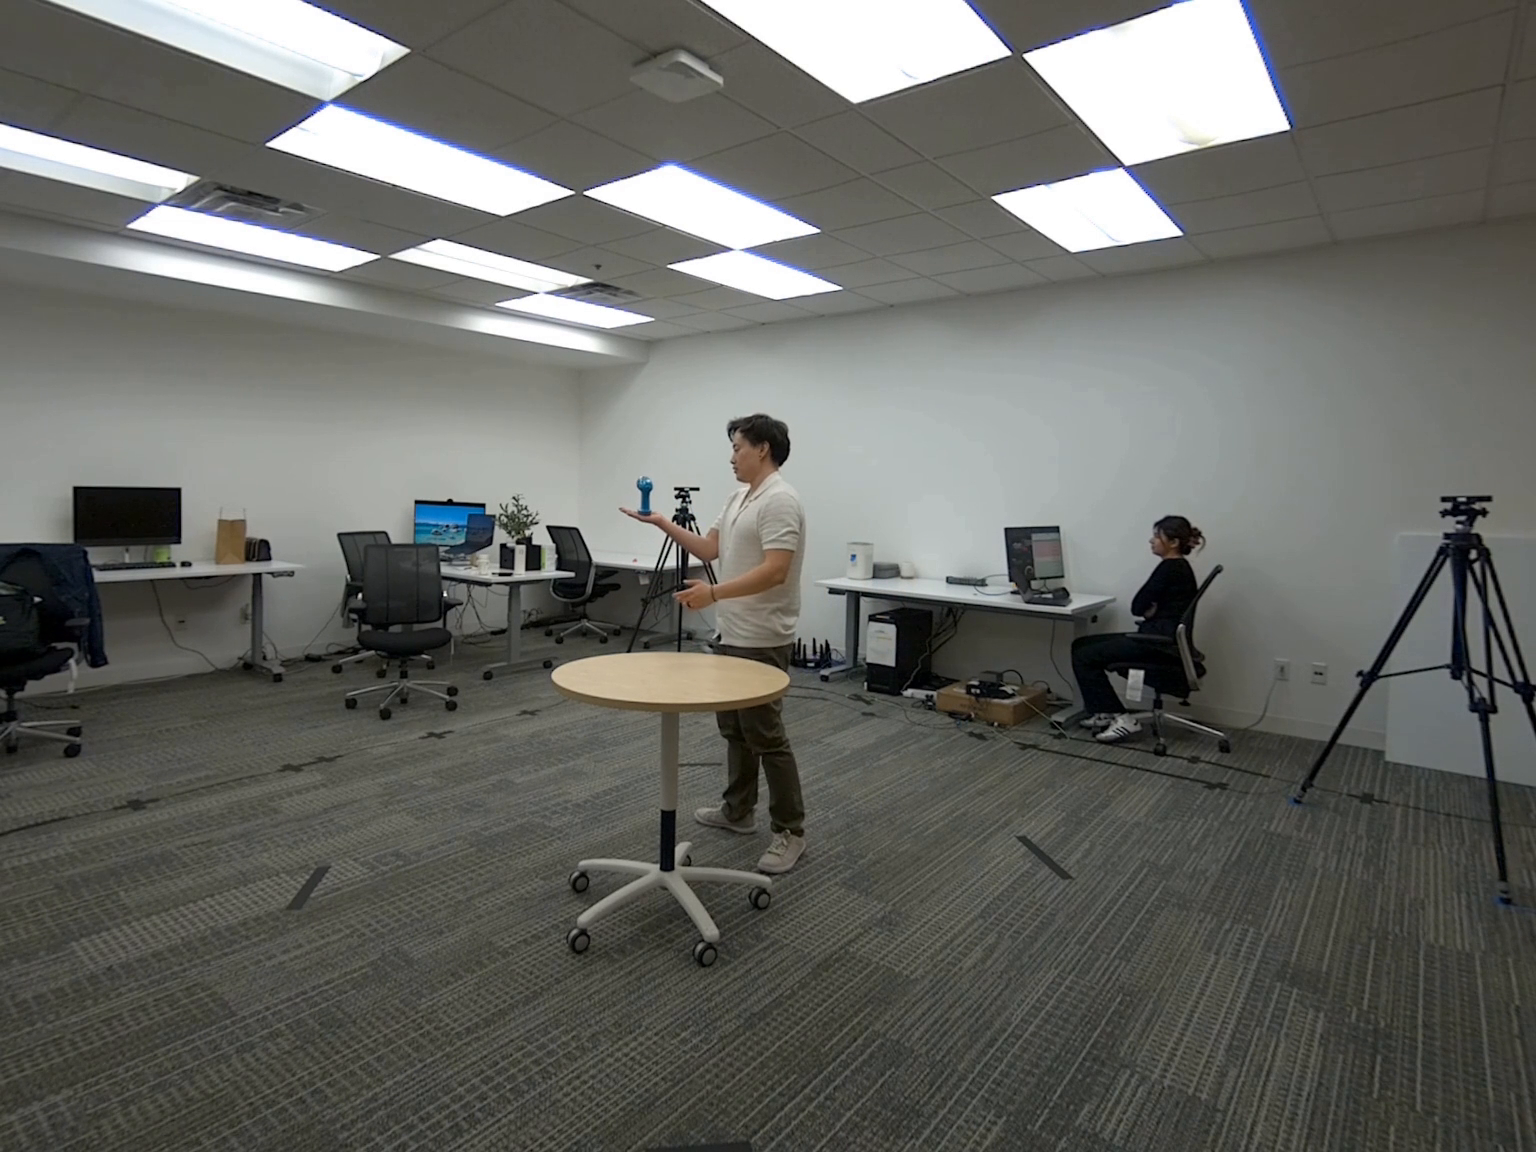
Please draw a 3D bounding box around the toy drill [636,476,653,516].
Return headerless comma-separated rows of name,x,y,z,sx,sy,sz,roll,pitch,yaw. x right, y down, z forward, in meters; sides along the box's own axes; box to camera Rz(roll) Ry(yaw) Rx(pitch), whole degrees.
toy drill,-0.502,-0.328,3.360,0.060,0.144,0.175,0,15,-18
